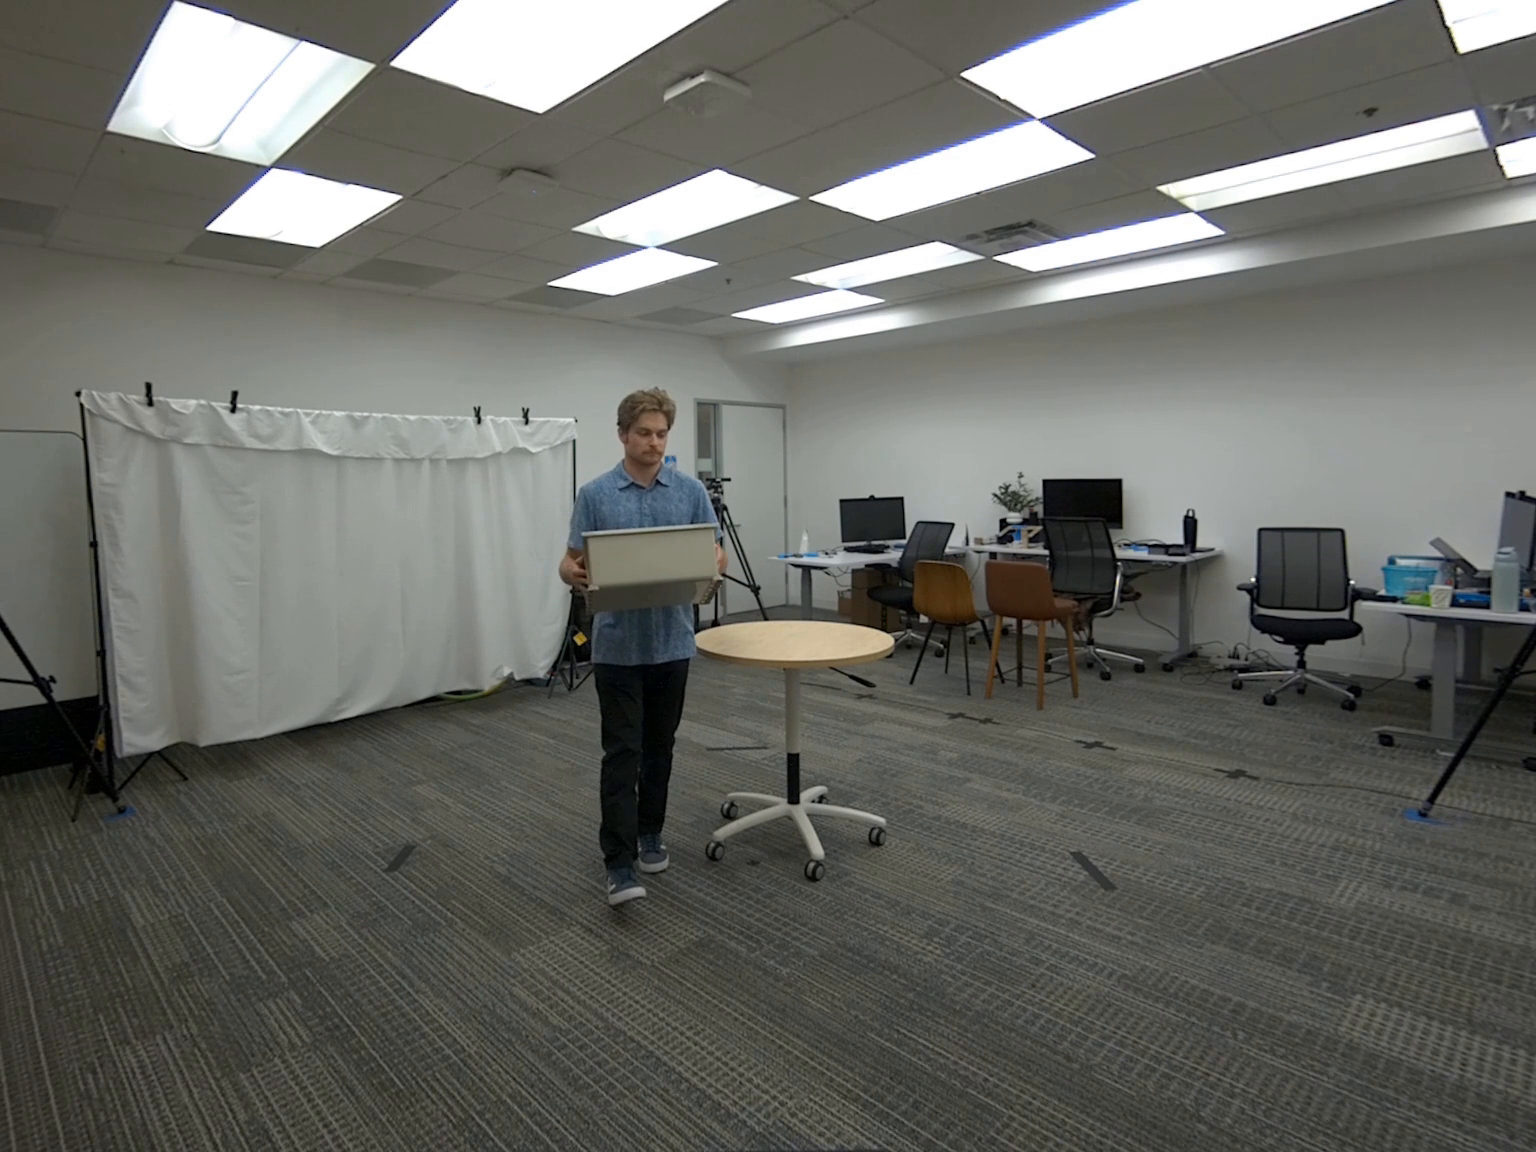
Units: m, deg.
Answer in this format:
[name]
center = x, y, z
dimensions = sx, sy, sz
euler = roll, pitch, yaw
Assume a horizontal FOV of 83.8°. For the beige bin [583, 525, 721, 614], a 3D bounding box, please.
[beige bin]
center = -0.385, -0.013, 2.750
dimensions = 0.418, 0.192, 0.376
euler = -5, -13, -12
